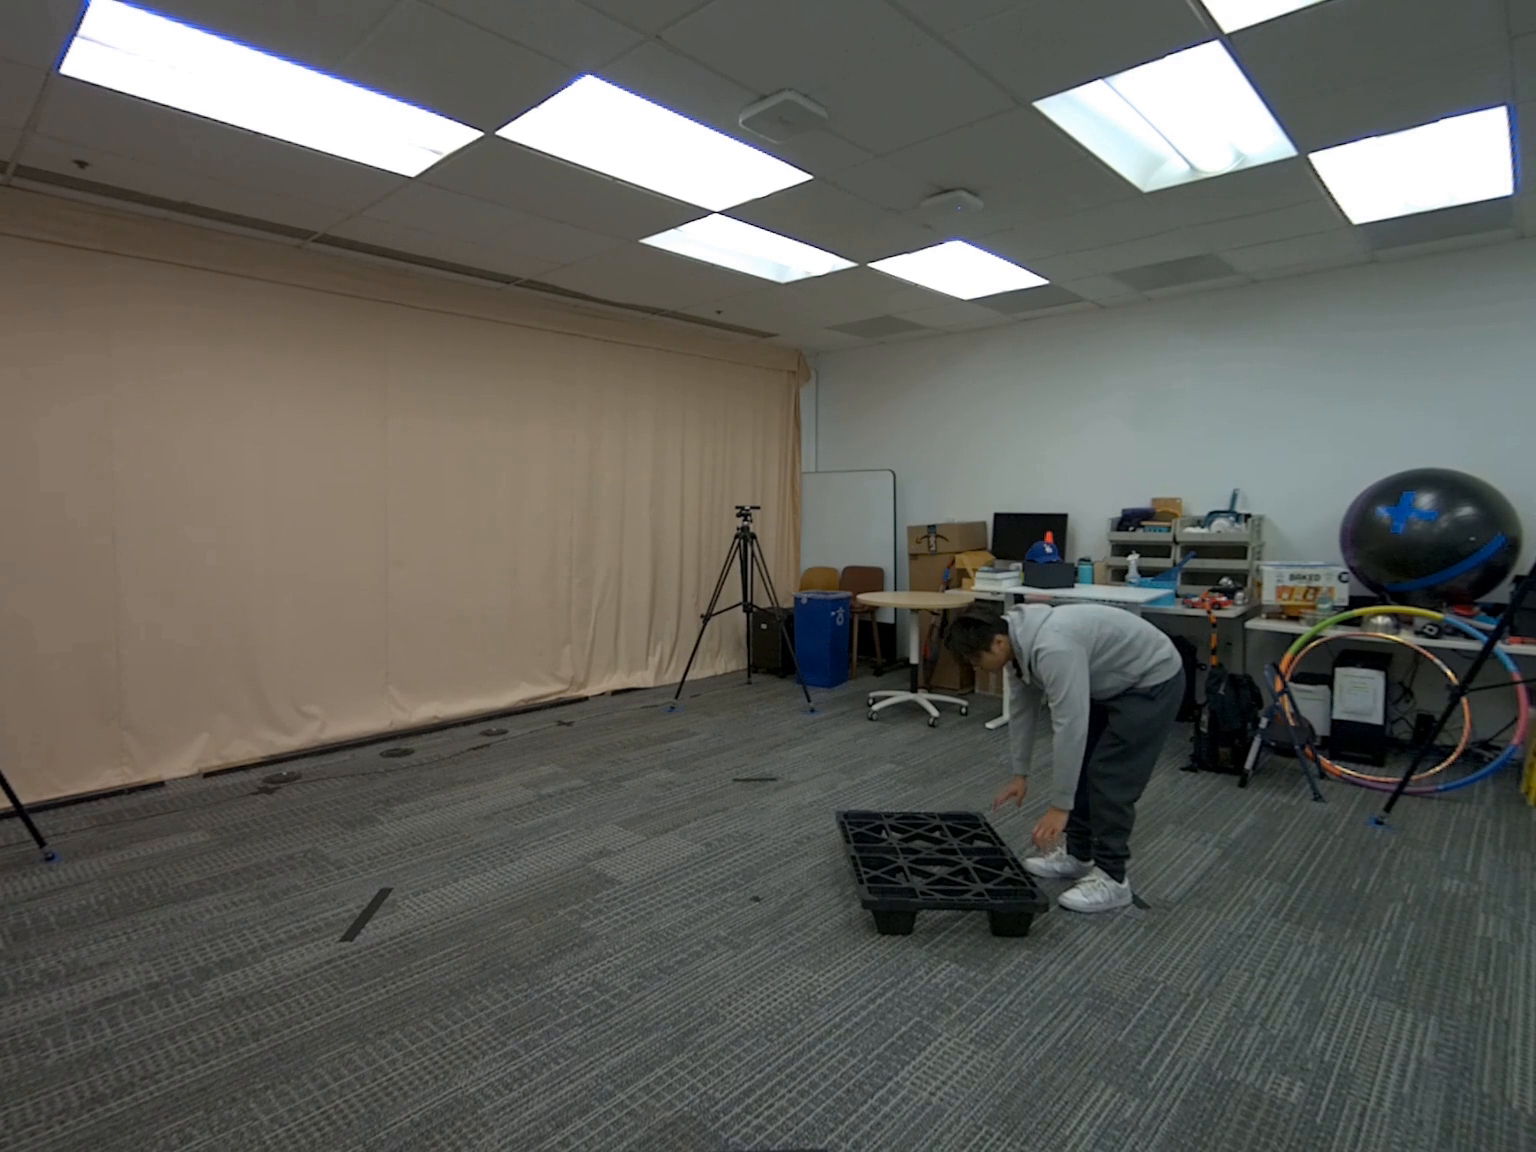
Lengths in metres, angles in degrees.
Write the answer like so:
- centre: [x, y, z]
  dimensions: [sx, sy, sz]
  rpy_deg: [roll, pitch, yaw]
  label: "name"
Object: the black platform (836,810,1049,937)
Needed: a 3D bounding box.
- centre: [0.589, 1.064, 3.075]
  dimensions: [0.606, 0.143, 0.807]
  rpy_deg: [0, 4, -1]
  label: "black platform"
